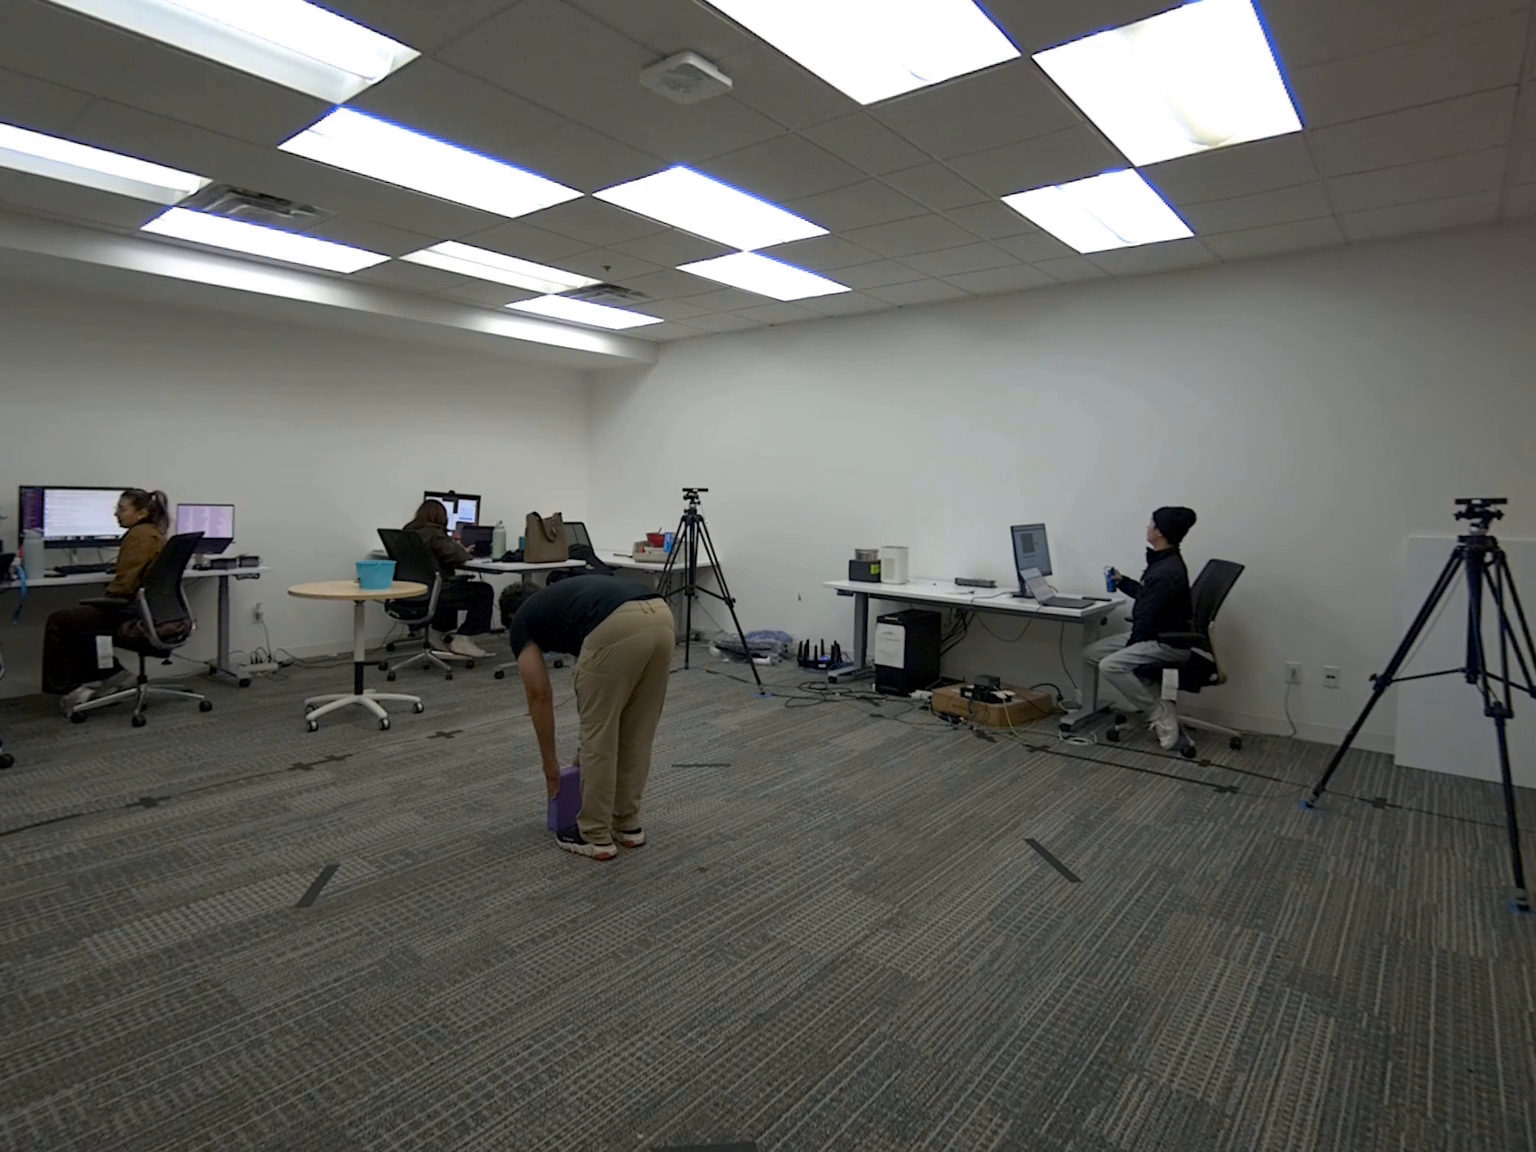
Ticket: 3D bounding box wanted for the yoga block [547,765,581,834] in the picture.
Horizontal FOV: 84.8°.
[{"bbox_3d":[-0.837,0.909,3.485,0.079,0.229,0.144,4,4,40],"label":"yoga block"}]
